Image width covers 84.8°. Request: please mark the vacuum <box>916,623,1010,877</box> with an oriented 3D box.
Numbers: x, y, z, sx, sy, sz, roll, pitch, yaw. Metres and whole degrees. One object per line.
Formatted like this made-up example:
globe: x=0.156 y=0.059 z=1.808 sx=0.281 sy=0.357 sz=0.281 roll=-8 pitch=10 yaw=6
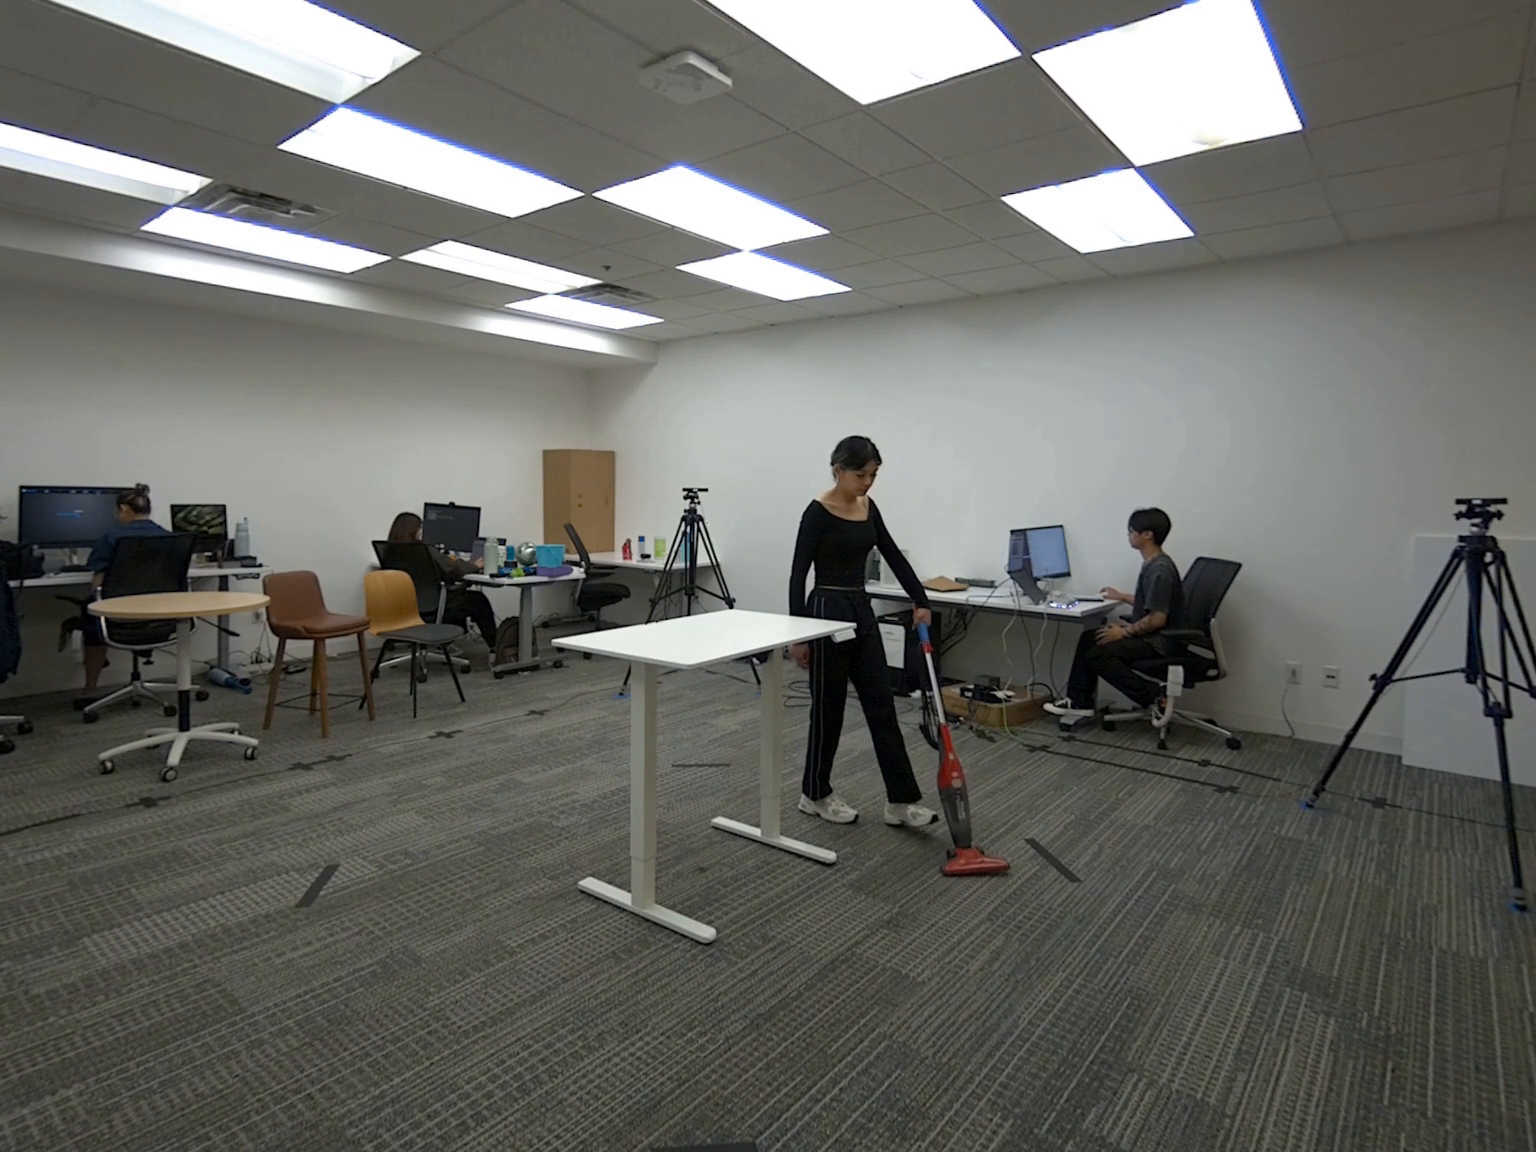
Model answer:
vacuum: x=0.696 y=0.606 z=3.415 sx=0.252 sy=1.078 sz=0.140 roll=-6 pitch=-28 yaw=-2
